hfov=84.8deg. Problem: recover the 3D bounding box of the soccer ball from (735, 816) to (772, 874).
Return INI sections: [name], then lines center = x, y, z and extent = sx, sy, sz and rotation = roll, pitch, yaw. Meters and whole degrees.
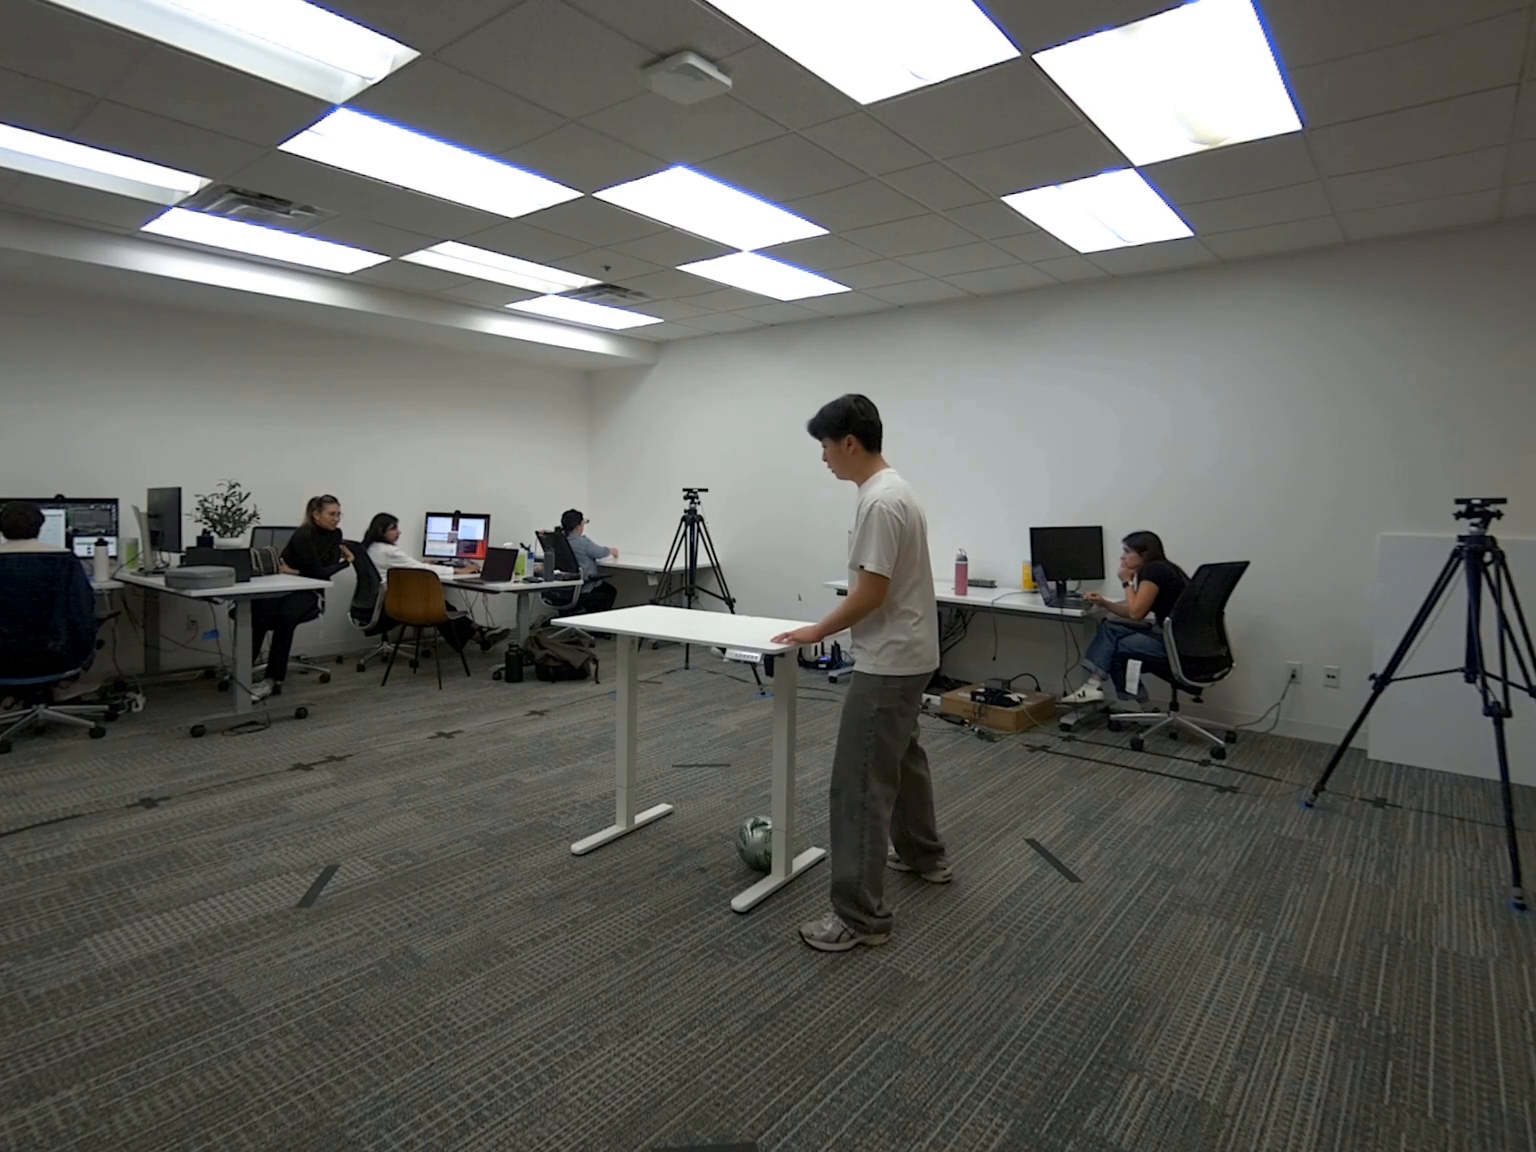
[soccer ball]
center = -0.021, 0.972, 3.137
extent = 0.187, 0.187, 0.188
rotation = 1, 4, -2
